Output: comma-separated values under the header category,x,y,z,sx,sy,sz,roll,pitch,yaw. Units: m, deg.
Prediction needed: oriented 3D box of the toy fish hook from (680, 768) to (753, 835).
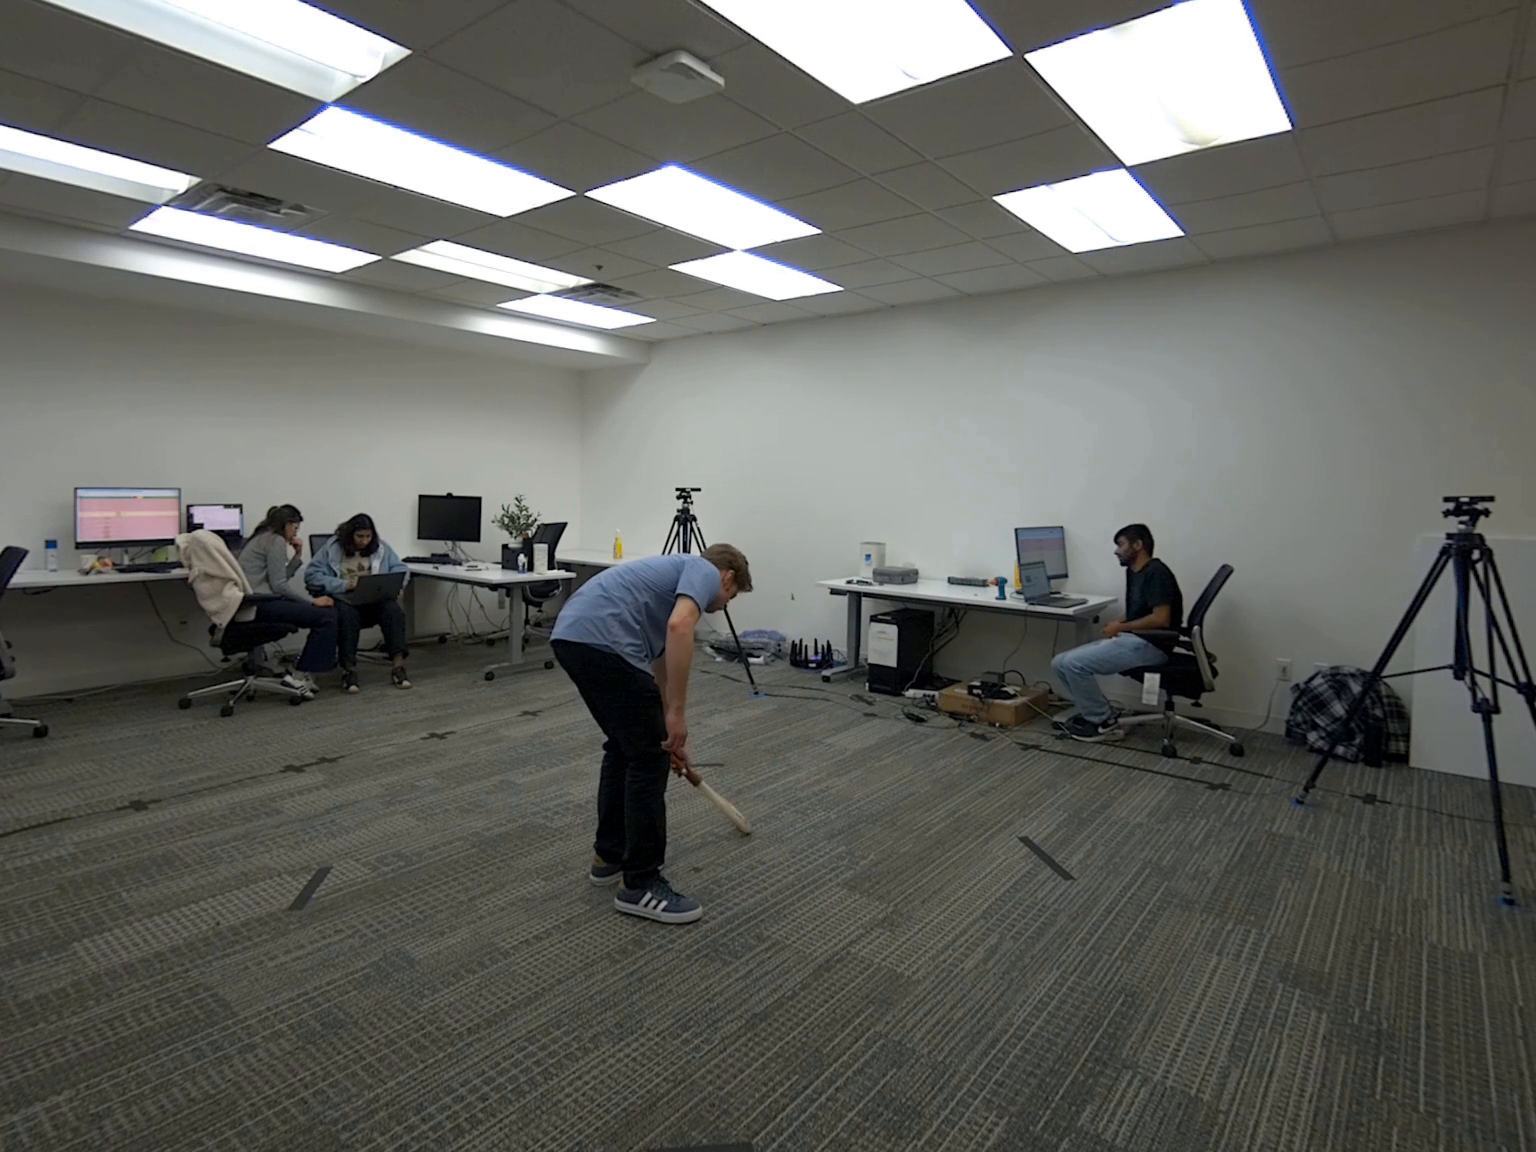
category,x,y,z,sx,sy,sz,roll,pitch,yaw
toy fish hook,-0.267,0.861,3.441,0.500,0.048,0.228,46,-12,-10
